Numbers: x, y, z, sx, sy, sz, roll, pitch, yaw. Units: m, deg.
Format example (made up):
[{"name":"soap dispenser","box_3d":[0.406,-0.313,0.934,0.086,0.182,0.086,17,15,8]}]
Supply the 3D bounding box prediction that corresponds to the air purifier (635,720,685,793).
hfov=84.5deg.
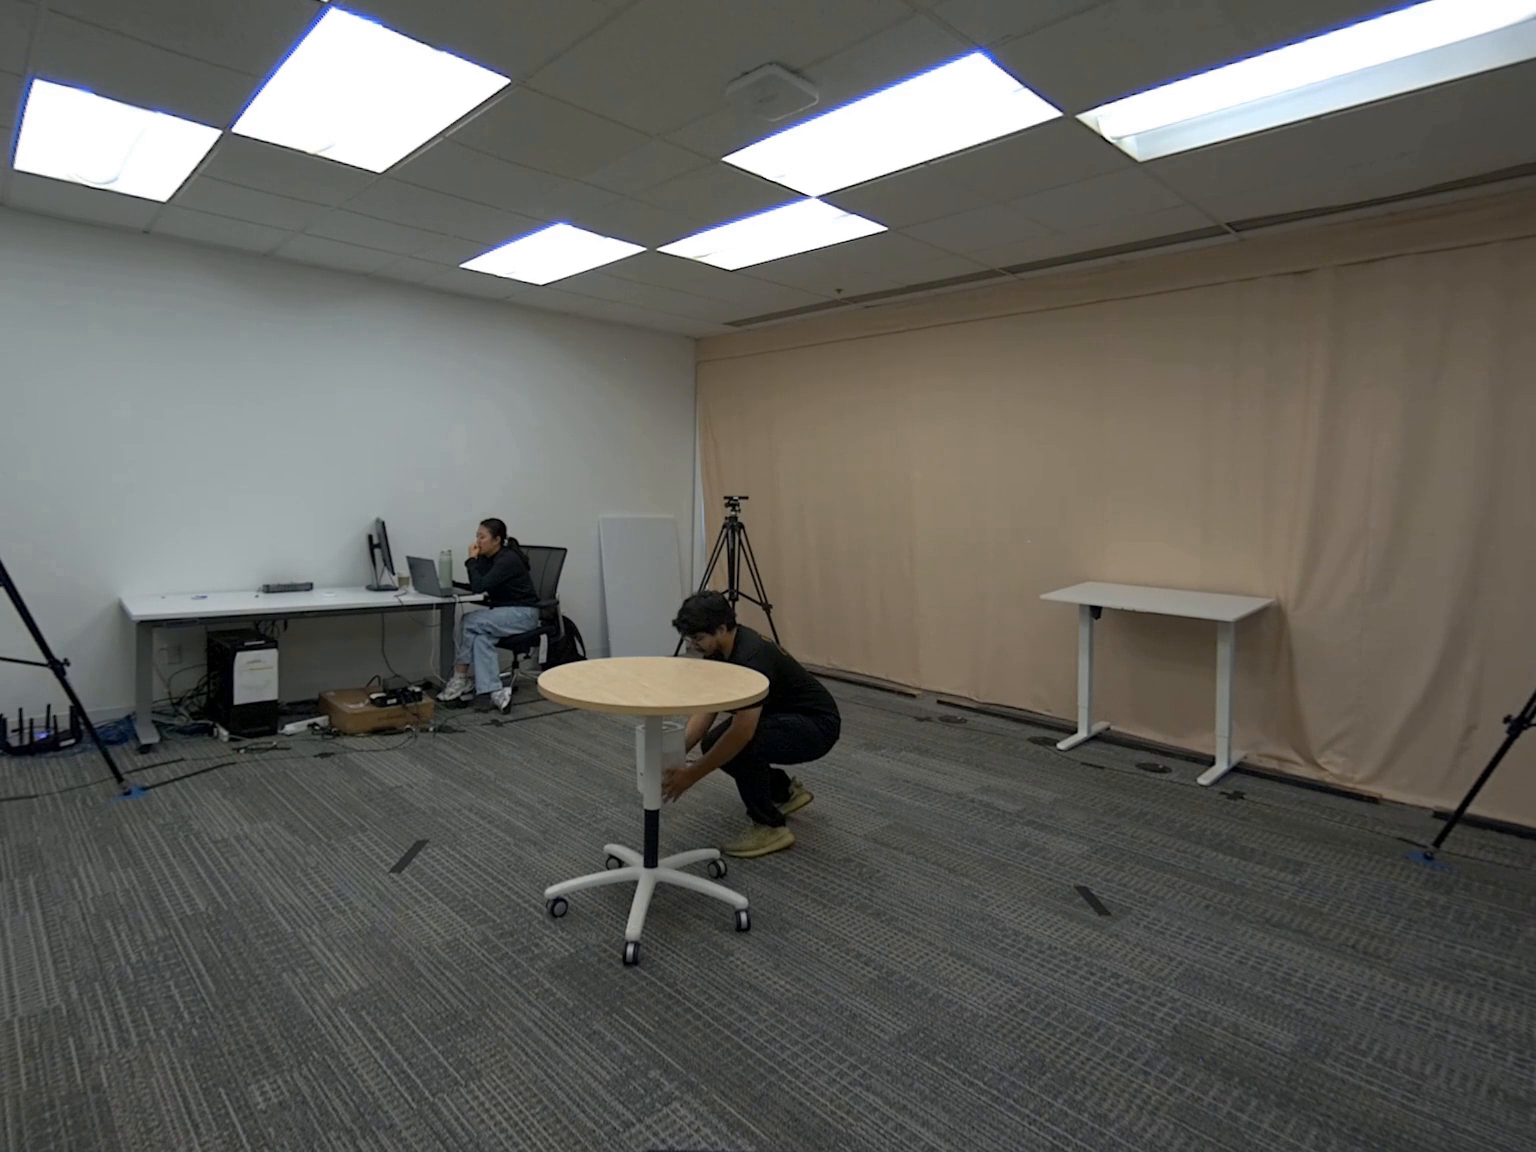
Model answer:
[{"name":"air purifier","box_3d":[-0.417,0.720,3.291,0.168,0.265,0.175,-2,1,-35]}]
